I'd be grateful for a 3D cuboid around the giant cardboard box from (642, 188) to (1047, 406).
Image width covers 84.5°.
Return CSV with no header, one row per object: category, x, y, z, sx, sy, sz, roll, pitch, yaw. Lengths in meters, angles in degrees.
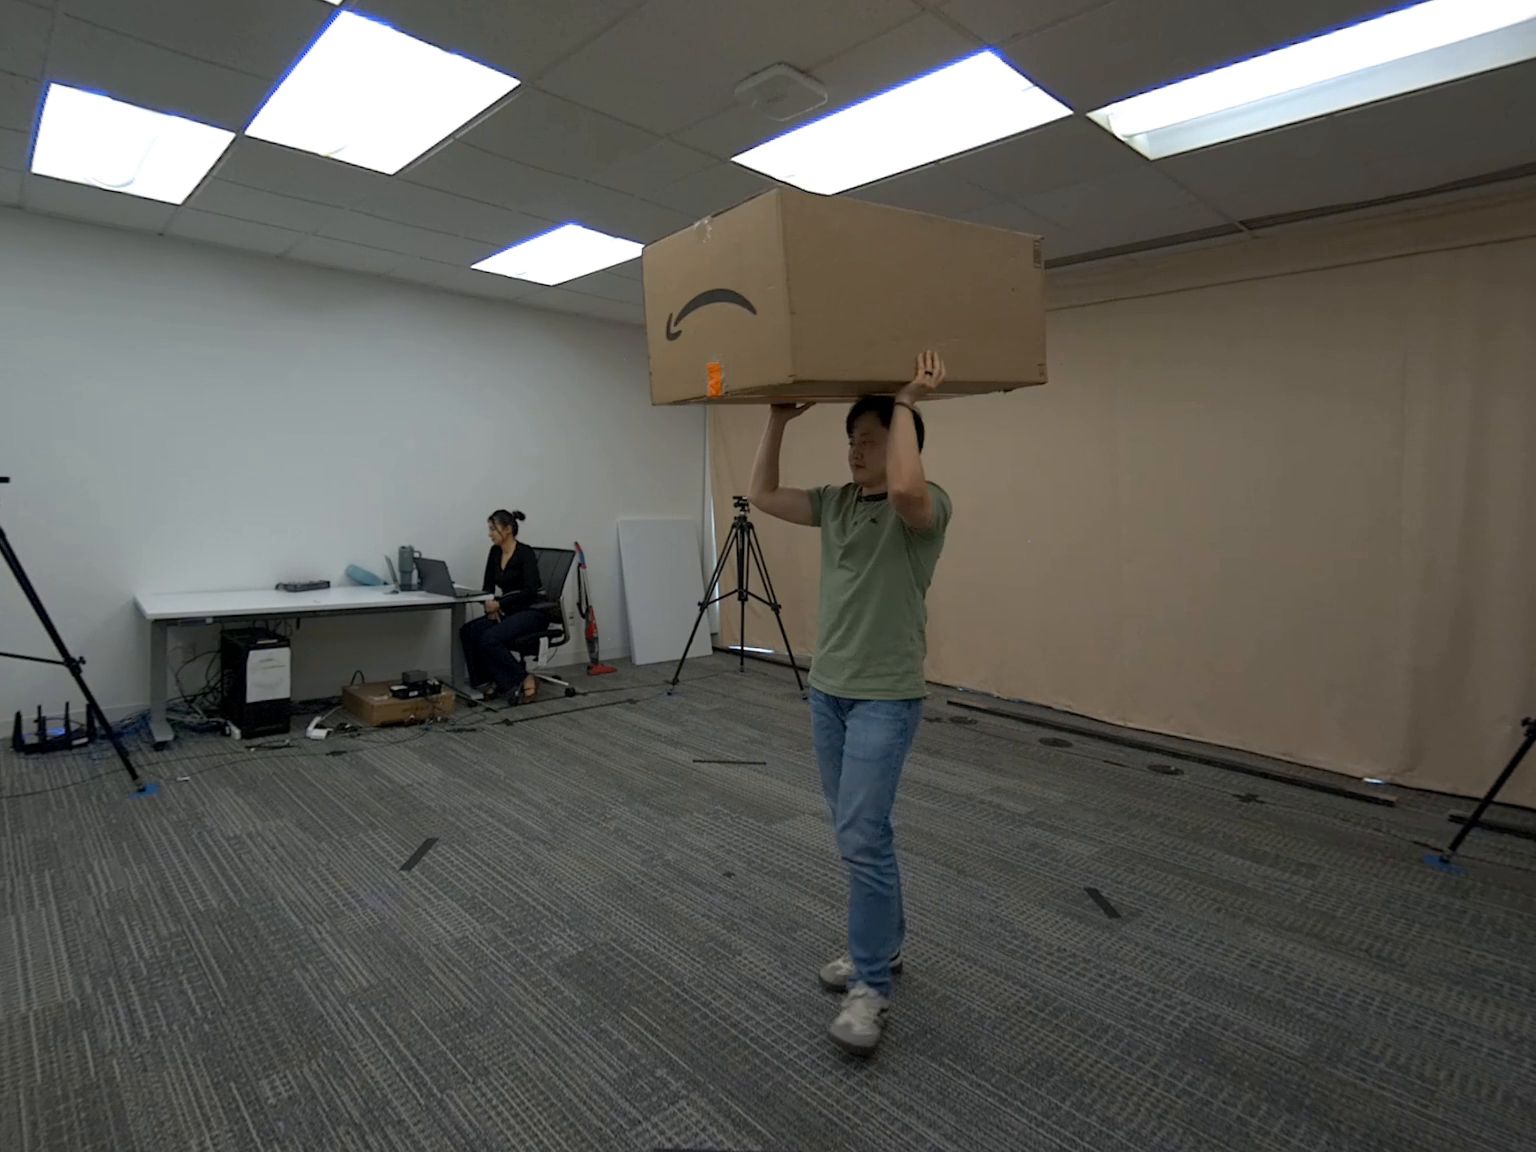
giant cardboard box,0.234,-0.713,2.359,1.006,0.424,0.592,-10,9,-39
